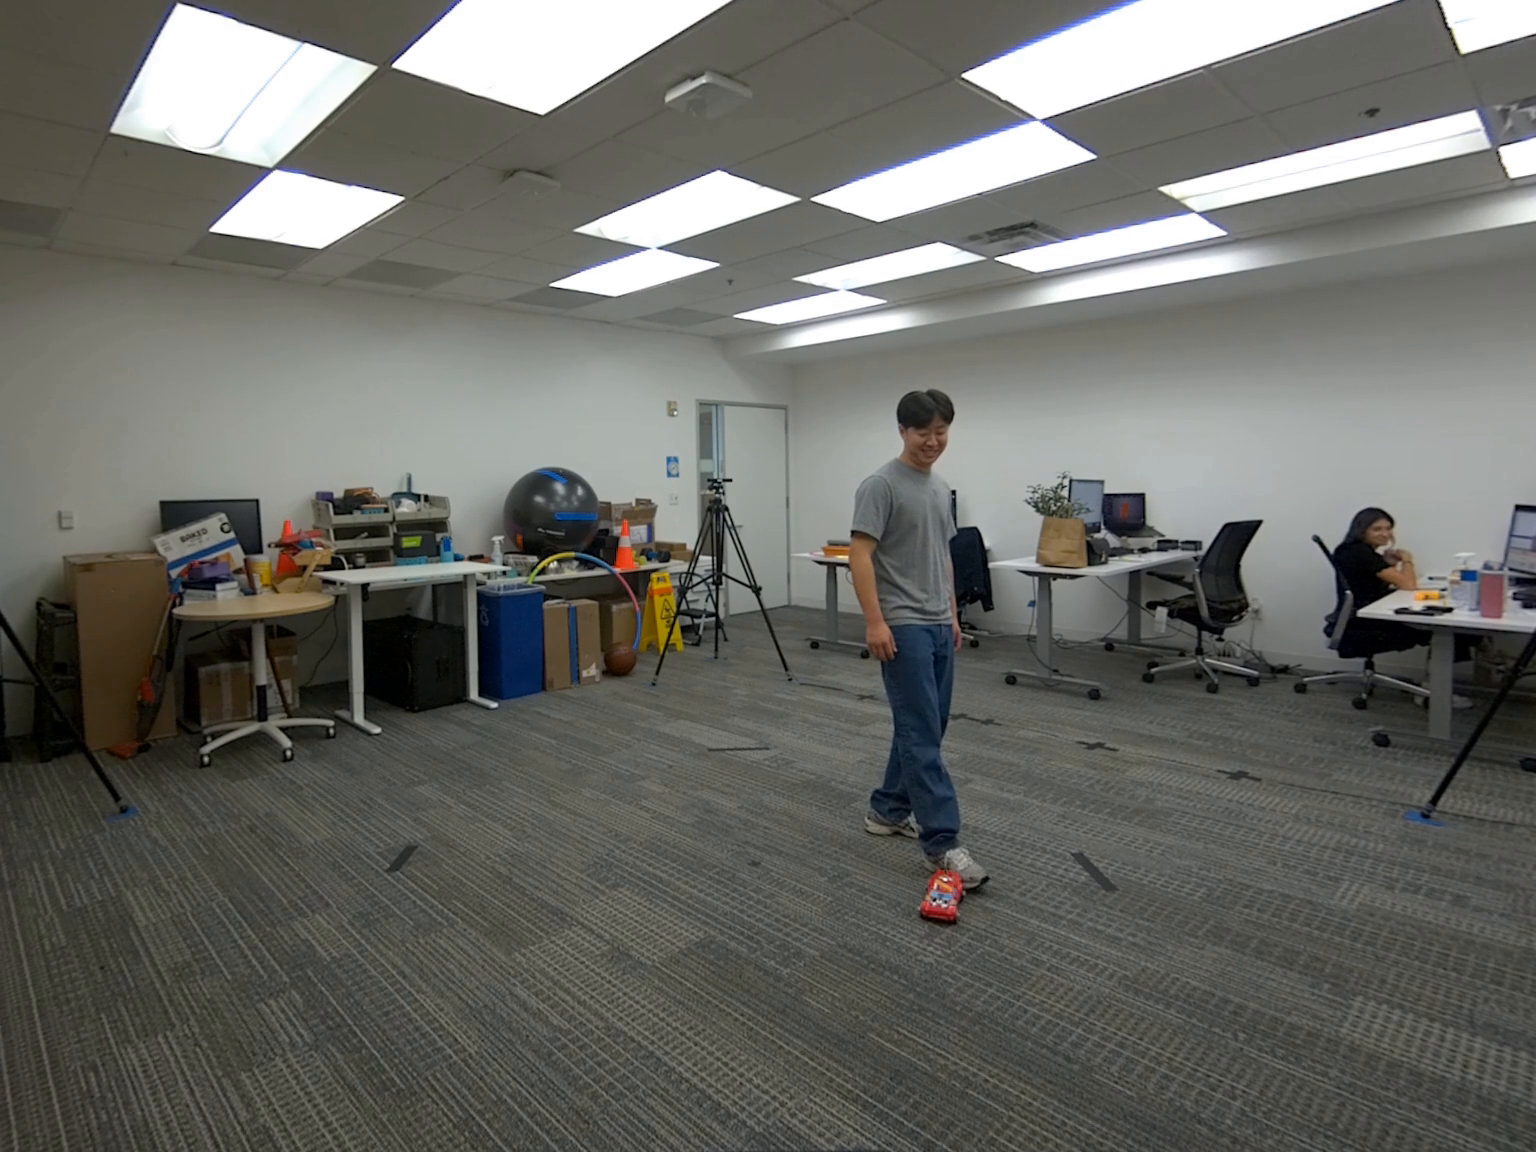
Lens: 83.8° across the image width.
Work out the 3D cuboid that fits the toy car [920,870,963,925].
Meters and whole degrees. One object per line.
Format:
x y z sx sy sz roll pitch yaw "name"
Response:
0.577 1.040 2.772 0.133 0.082 0.253 1 18 20 "toy car"
